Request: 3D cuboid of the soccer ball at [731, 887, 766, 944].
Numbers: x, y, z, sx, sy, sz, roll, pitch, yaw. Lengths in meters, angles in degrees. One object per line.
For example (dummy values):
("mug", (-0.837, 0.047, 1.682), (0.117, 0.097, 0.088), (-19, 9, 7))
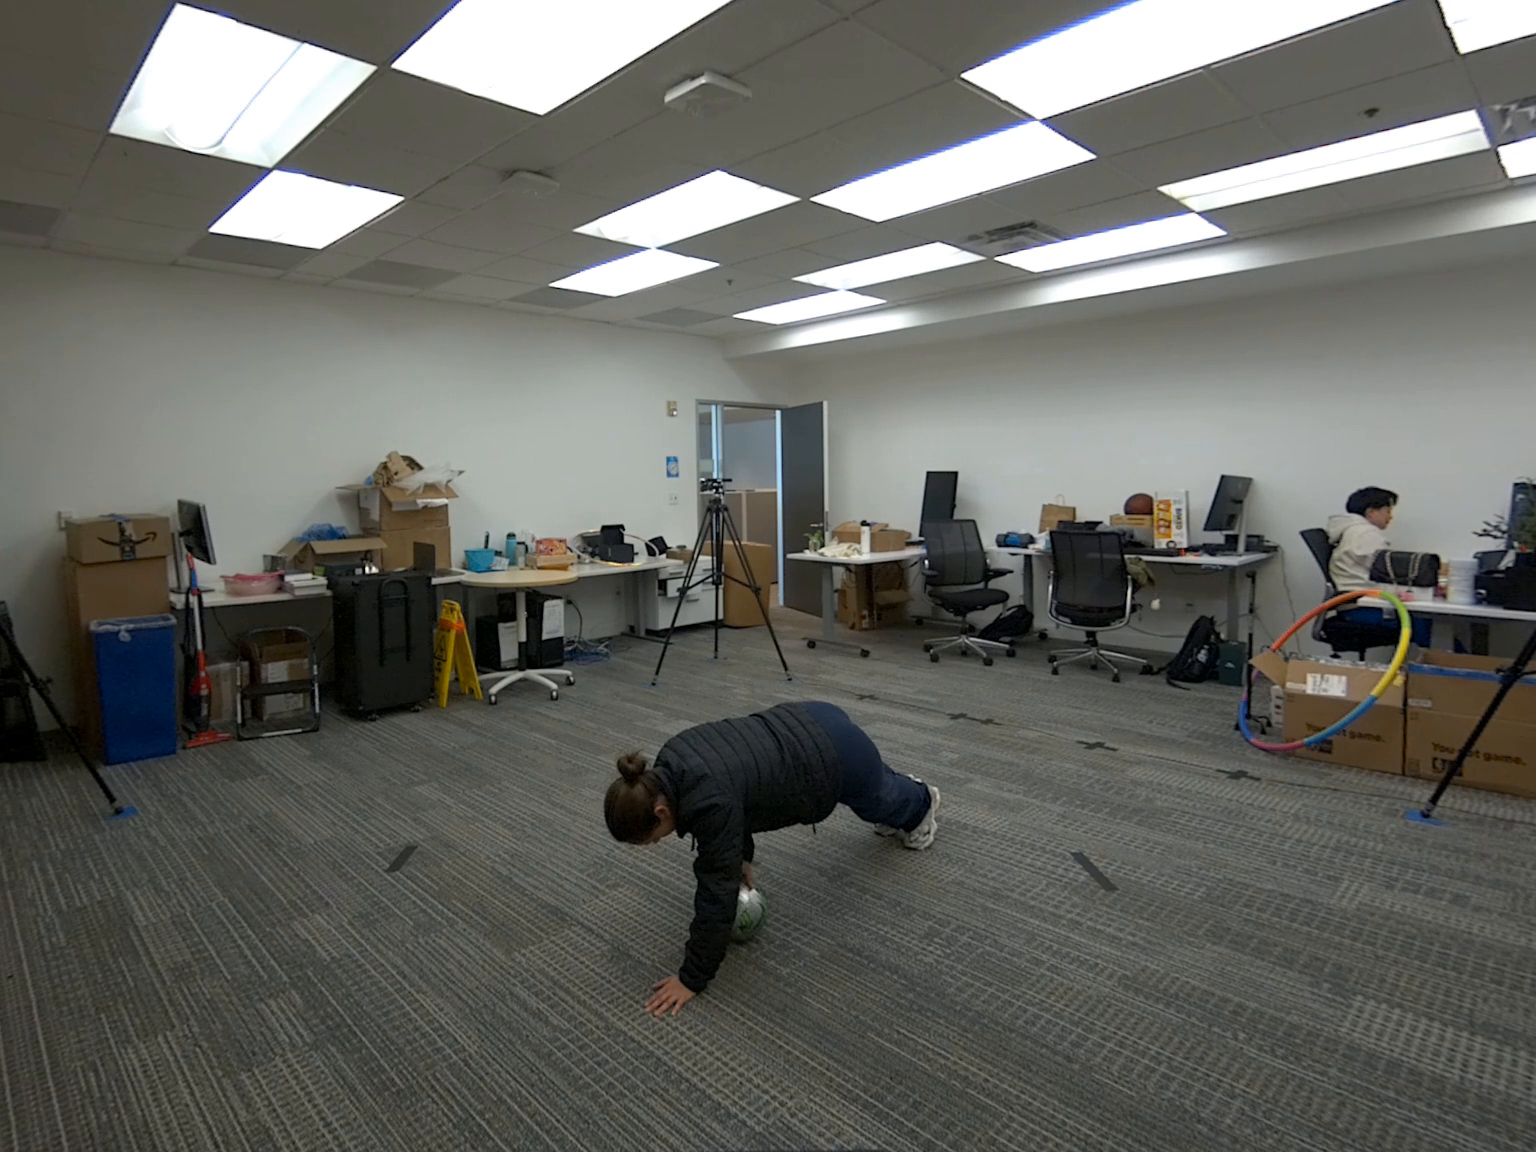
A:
("soccer ball", (-0.083, 1.008, 2.607), (0.187, 0.187, 0.188), (-1, 5, -2))
